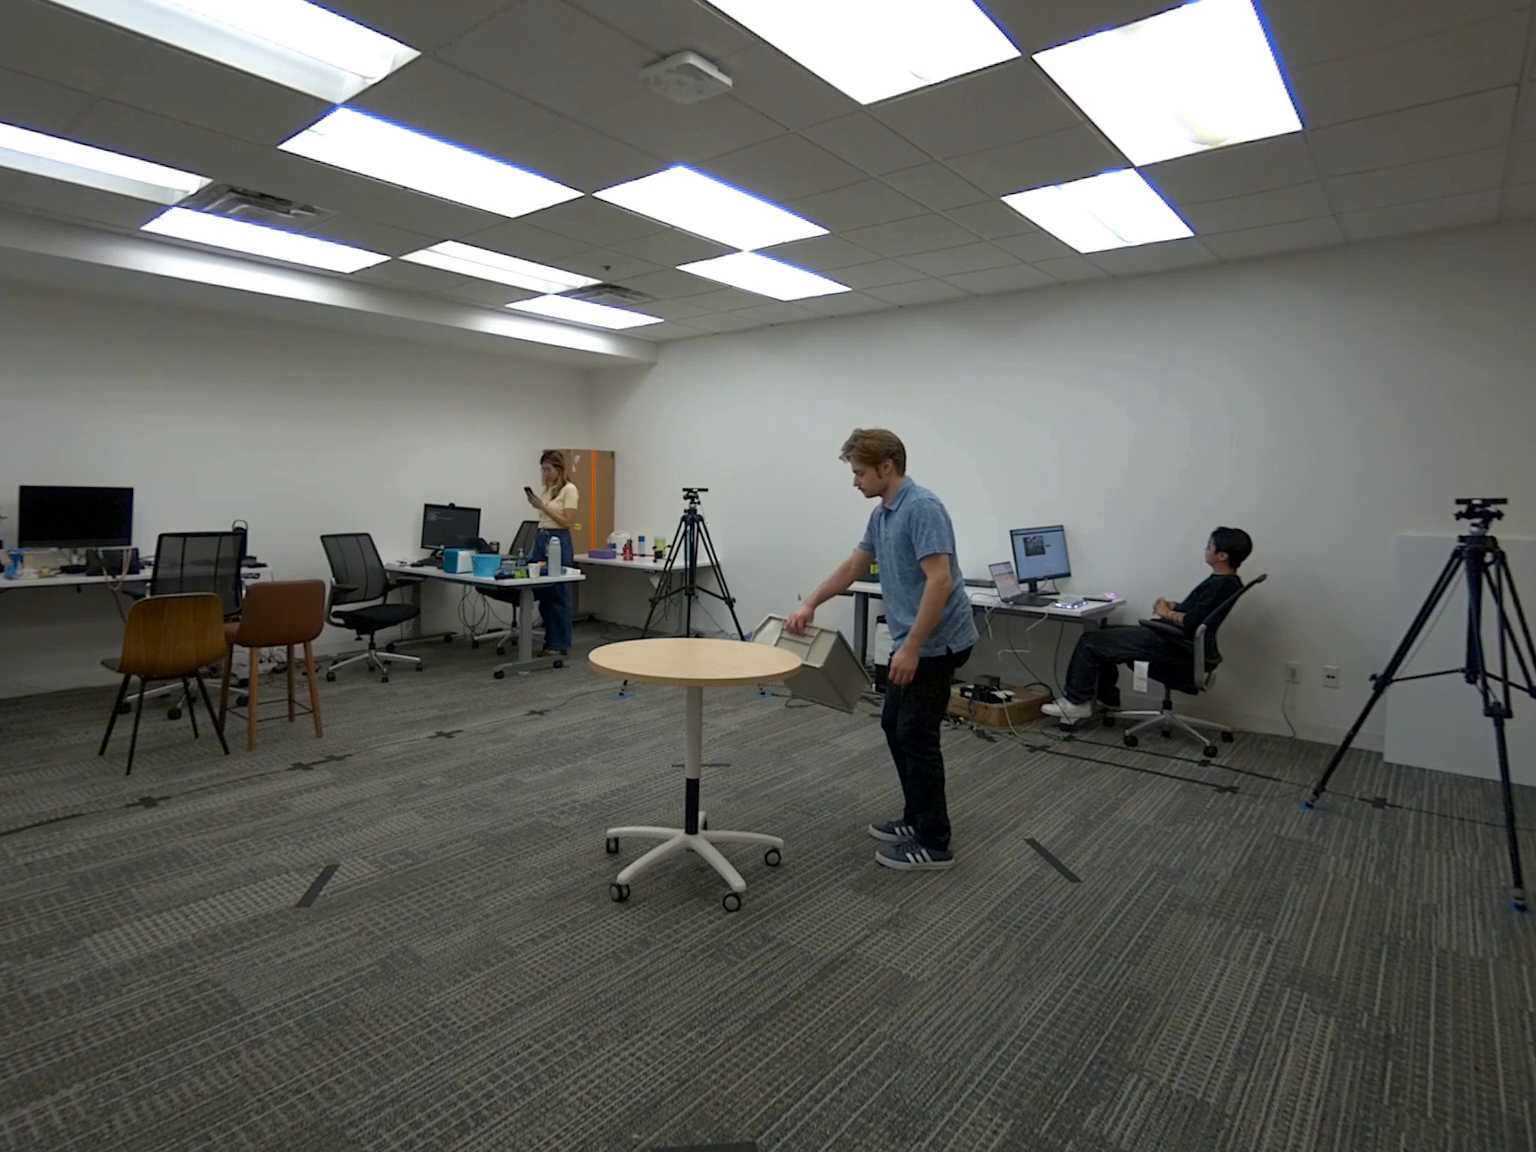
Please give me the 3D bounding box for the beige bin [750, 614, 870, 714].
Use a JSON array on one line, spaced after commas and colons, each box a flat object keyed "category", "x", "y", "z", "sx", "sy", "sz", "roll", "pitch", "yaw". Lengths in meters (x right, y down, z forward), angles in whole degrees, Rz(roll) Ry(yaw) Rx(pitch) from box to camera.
[{"category": "beige bin", "x": 0.160, "y": 0.373, "z": 3.617, "sx": 0.391, "sy": 0.190, "sz": 0.405, "roll": 13, "pitch": -29, "yaw": 36}]
